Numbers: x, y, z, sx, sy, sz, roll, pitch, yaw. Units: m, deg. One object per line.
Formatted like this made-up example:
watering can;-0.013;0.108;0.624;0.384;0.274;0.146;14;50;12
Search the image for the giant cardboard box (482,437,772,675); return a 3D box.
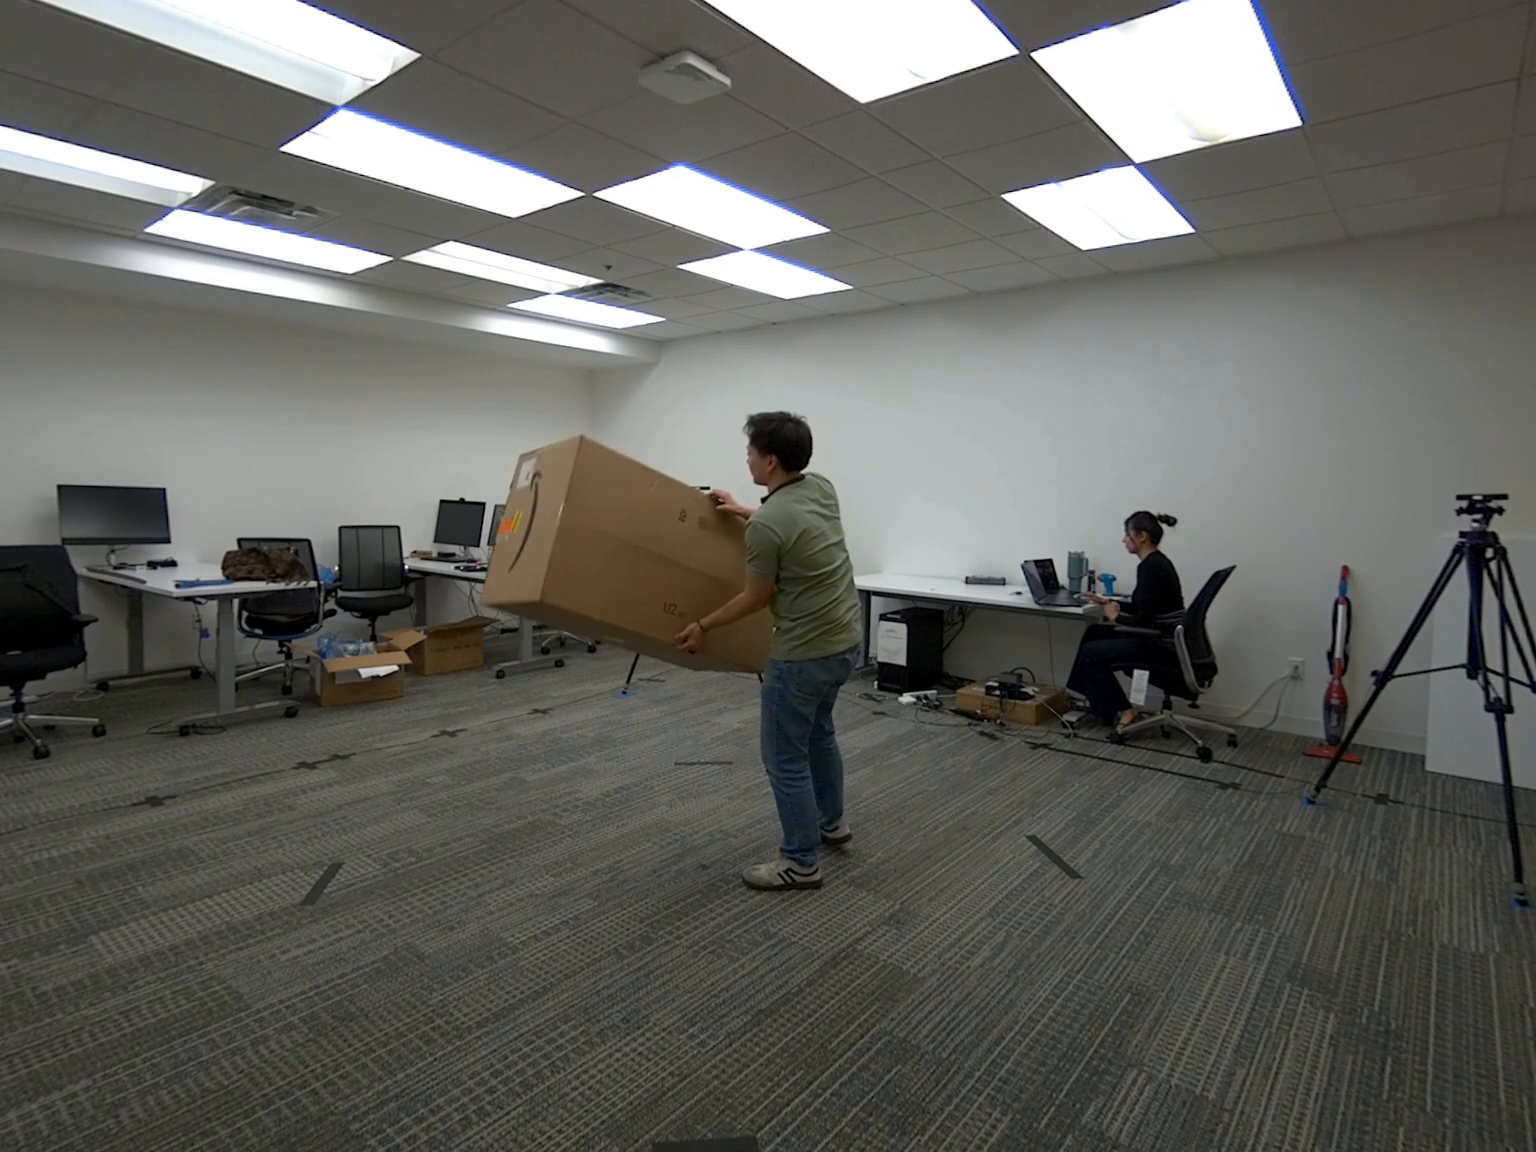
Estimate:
giant cardboard box;-0.463;-0.029;3.182;0.986;0.584;0.438;23;-20;-39
